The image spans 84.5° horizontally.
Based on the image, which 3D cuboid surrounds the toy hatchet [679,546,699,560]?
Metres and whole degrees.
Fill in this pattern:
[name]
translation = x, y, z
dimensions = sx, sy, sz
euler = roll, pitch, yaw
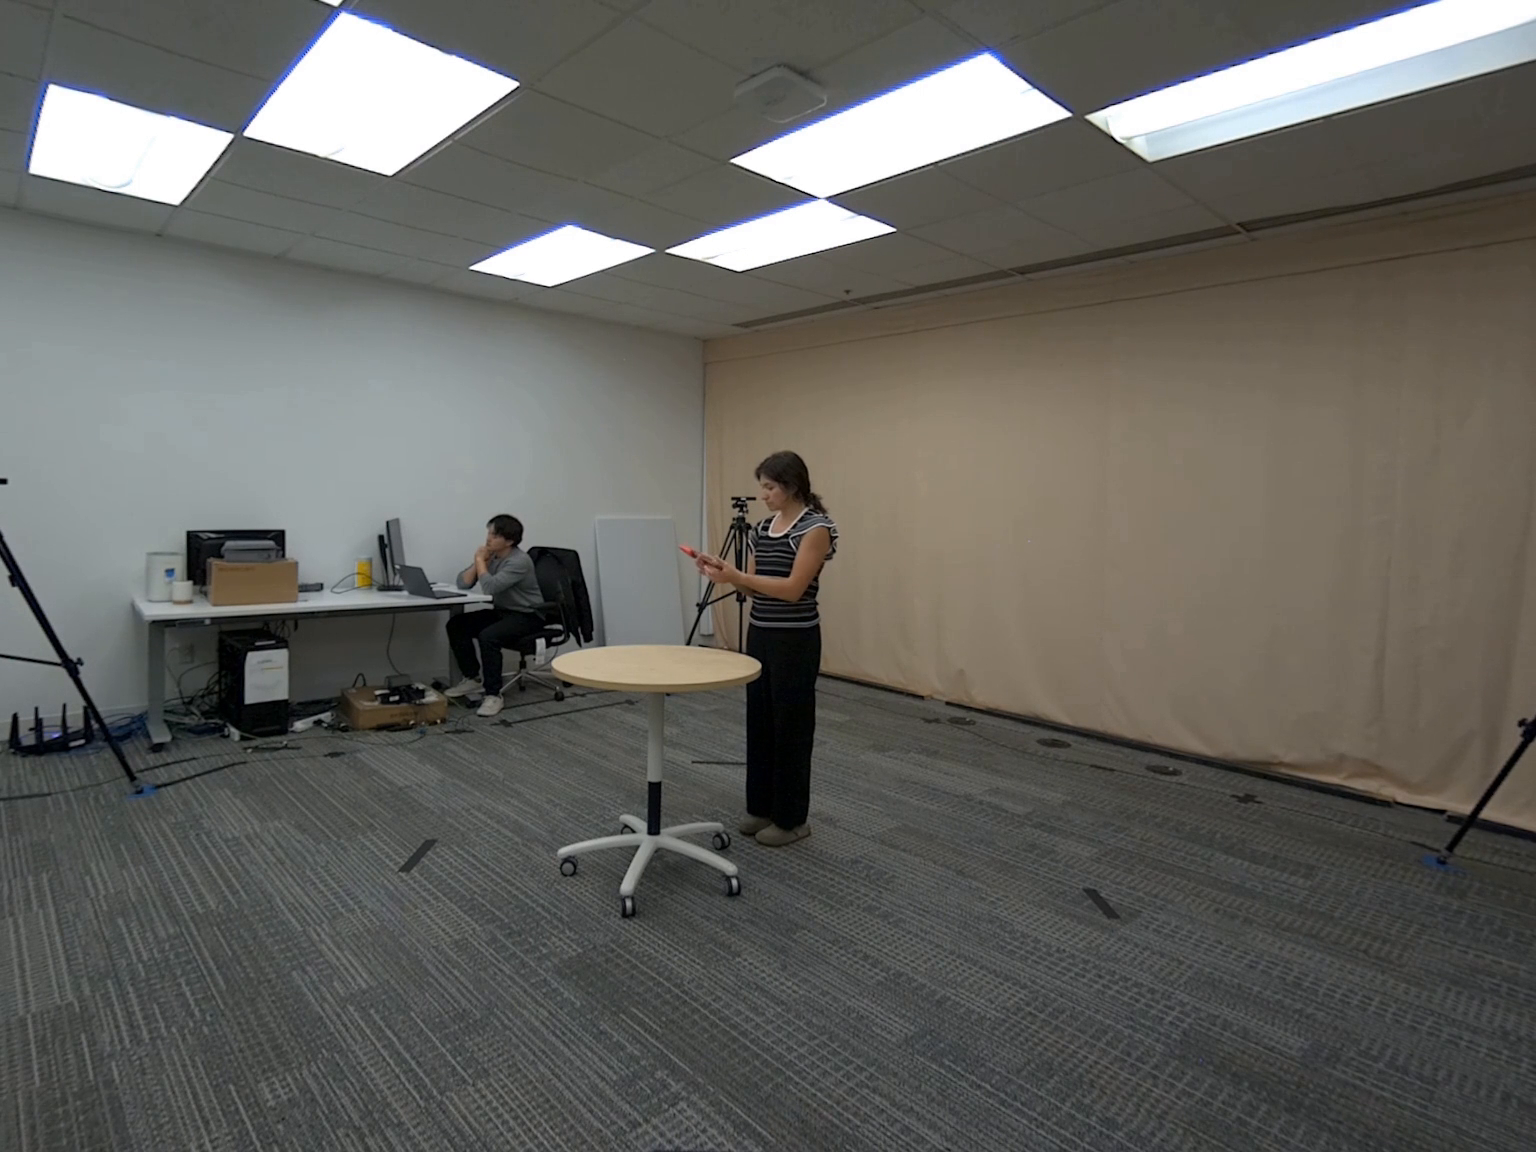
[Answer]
[toy hatchet]
translation = -0.281, -0.081, 3.378
dimensions = 0.128, 0.029, 0.275
euler = 33, -5, -22
